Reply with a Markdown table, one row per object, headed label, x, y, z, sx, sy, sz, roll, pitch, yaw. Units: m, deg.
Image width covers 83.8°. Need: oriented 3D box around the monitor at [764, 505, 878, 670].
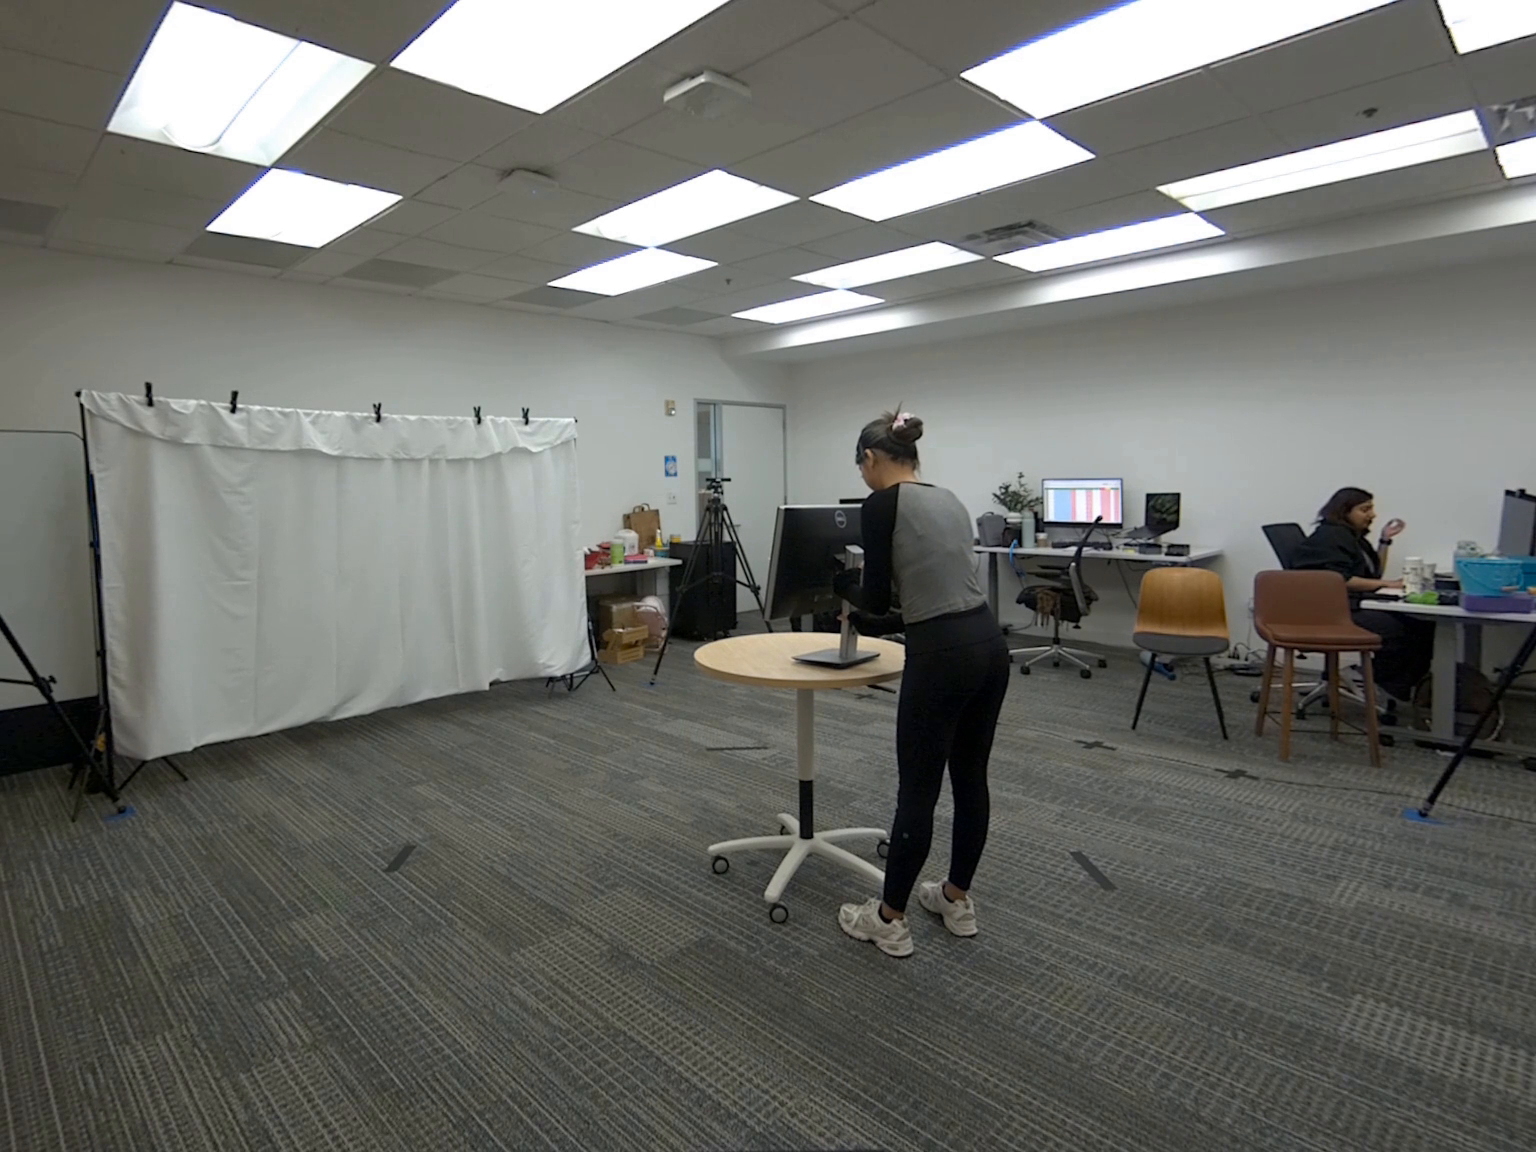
| label | x | y | z | sx | sy | sz | roll | pitch | yaw |
| --- | --- | --- | --- | --- | --- | --- | --- | --- | --- |
| monitor | 0.225 | 0.025 | 2.826 | 0.179 | 0.517 | 0.516 | -7 | -1 | 41 |
